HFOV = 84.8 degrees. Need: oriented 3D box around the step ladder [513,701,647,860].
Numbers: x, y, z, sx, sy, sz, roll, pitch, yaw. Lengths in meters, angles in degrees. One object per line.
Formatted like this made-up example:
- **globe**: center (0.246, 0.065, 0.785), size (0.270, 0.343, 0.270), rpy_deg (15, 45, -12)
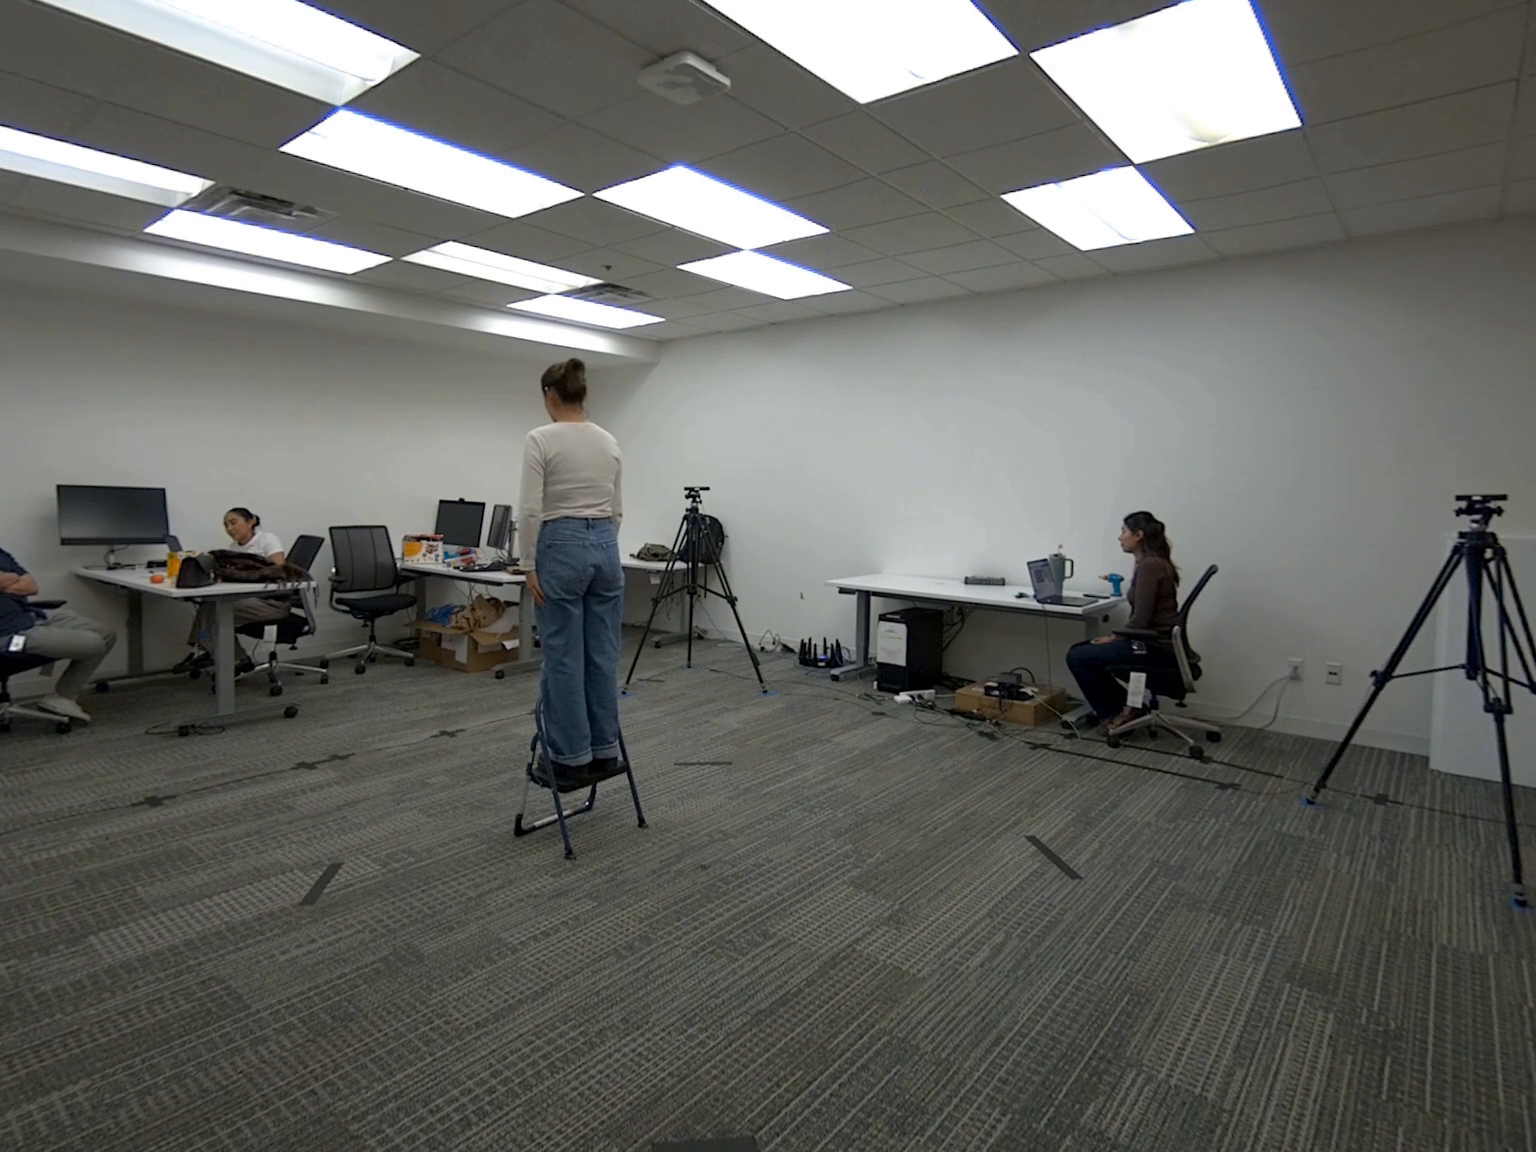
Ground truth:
- **step ladder**: center (-0.760, 0.726, 3.422), size (0.360, 0.605, 0.418), rpy_deg (2, 3, 36)
